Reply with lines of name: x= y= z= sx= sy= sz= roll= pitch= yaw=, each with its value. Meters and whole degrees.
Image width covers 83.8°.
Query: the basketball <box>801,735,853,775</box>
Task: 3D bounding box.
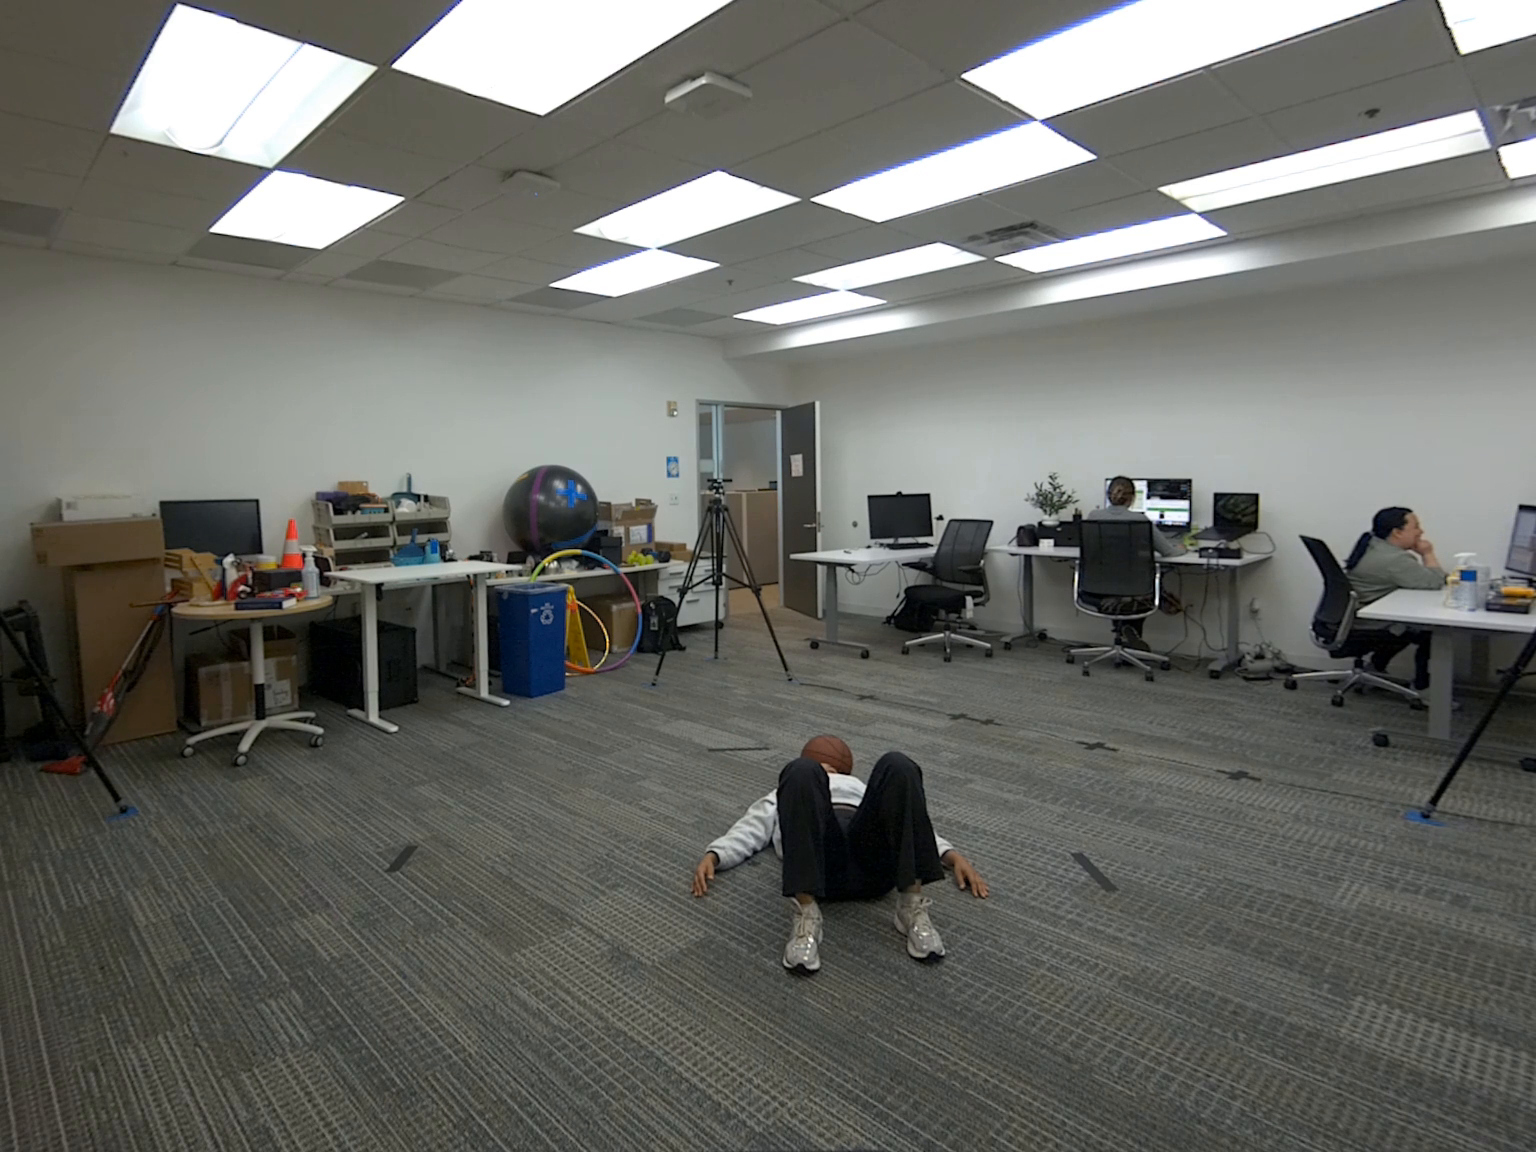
basketball: x=0.267 y=0.843 z=3.858 sx=0.236 sy=0.235 sz=0.237 roll=-1 pitch=5 yaw=-2
